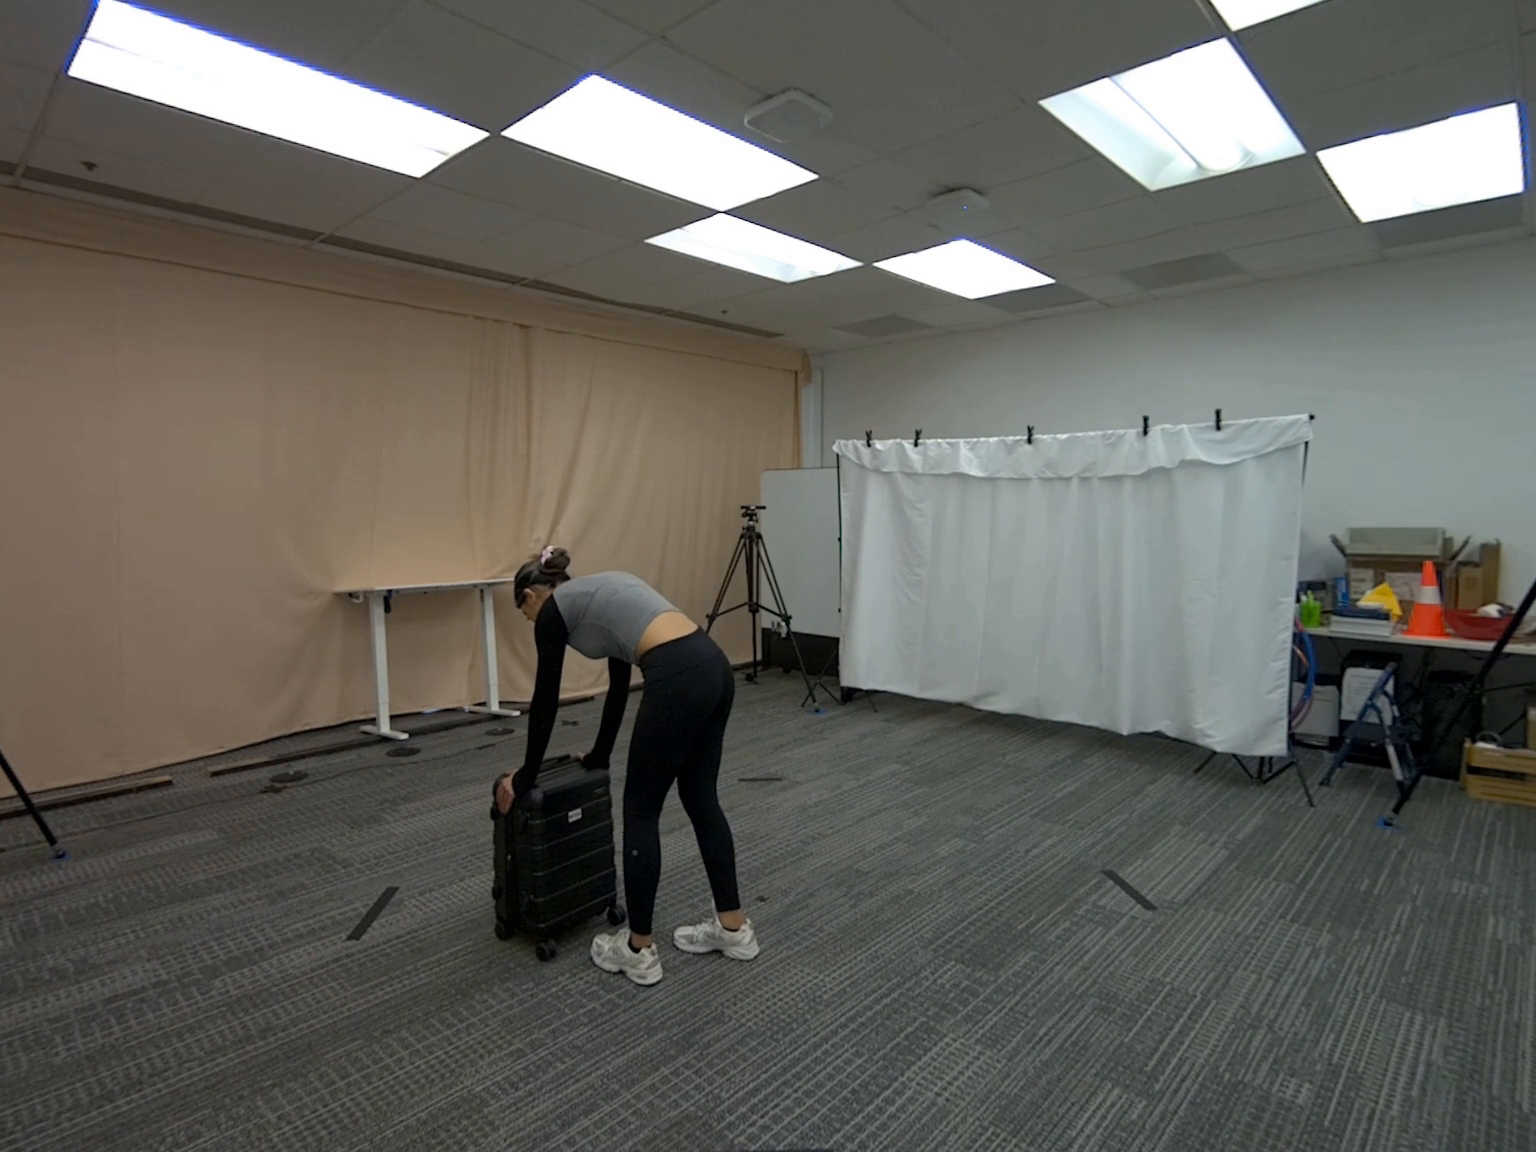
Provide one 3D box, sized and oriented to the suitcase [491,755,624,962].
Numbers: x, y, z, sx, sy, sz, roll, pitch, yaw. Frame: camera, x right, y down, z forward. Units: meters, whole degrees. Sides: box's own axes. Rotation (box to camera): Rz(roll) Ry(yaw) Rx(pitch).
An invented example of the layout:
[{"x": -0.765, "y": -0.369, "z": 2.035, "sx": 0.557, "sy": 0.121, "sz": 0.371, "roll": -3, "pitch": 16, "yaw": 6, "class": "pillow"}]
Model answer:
[{"x": -0.703, "y": 0.893, "z": 2.781, "sx": 0.256, "sy": 0.549, "sz": 0.364, "roll": 0, "pitch": 2, "yaw": 38, "class": "suitcase"}]
